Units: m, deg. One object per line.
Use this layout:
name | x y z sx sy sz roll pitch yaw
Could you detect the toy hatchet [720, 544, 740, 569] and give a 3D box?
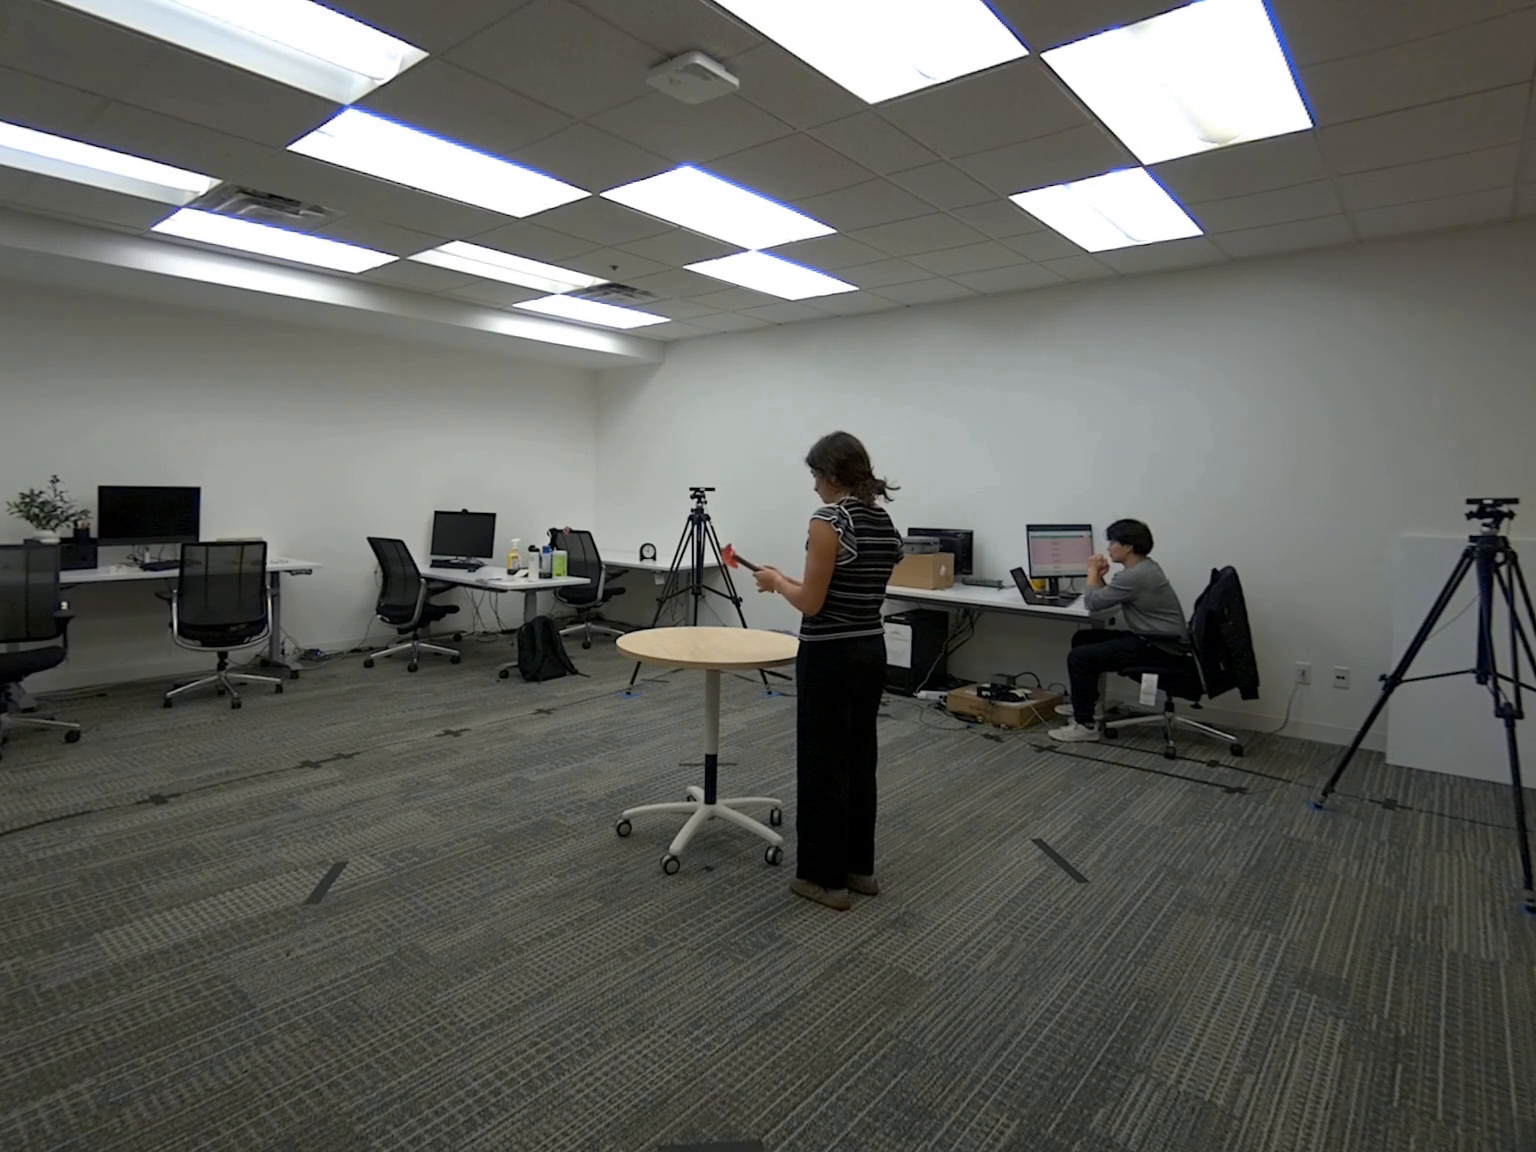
toy hatchet | -0.084 -0.021 3.075 0.131 0.268 0.030 -43 9 51
